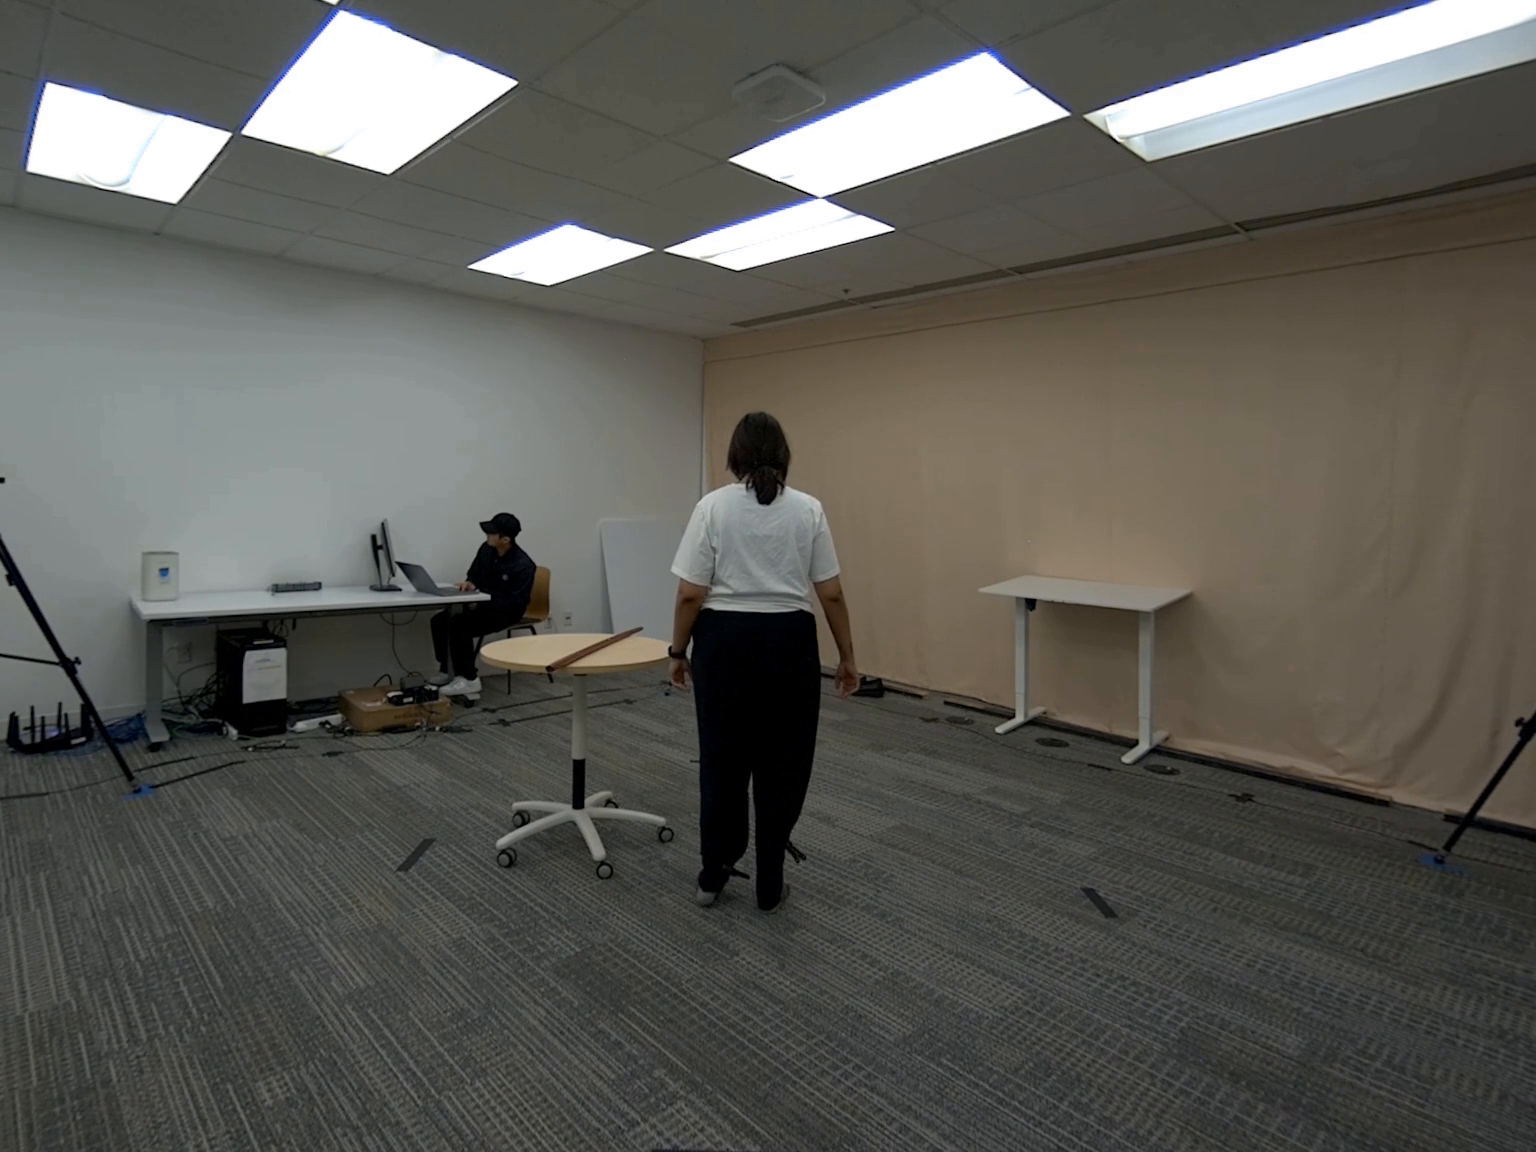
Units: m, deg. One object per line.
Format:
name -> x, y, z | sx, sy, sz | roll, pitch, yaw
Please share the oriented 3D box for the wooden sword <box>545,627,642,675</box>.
wooden sword -> -0.655, 0.263, 3.236 | 0.052, 0.024, 1.018 | -1, 4, 9
